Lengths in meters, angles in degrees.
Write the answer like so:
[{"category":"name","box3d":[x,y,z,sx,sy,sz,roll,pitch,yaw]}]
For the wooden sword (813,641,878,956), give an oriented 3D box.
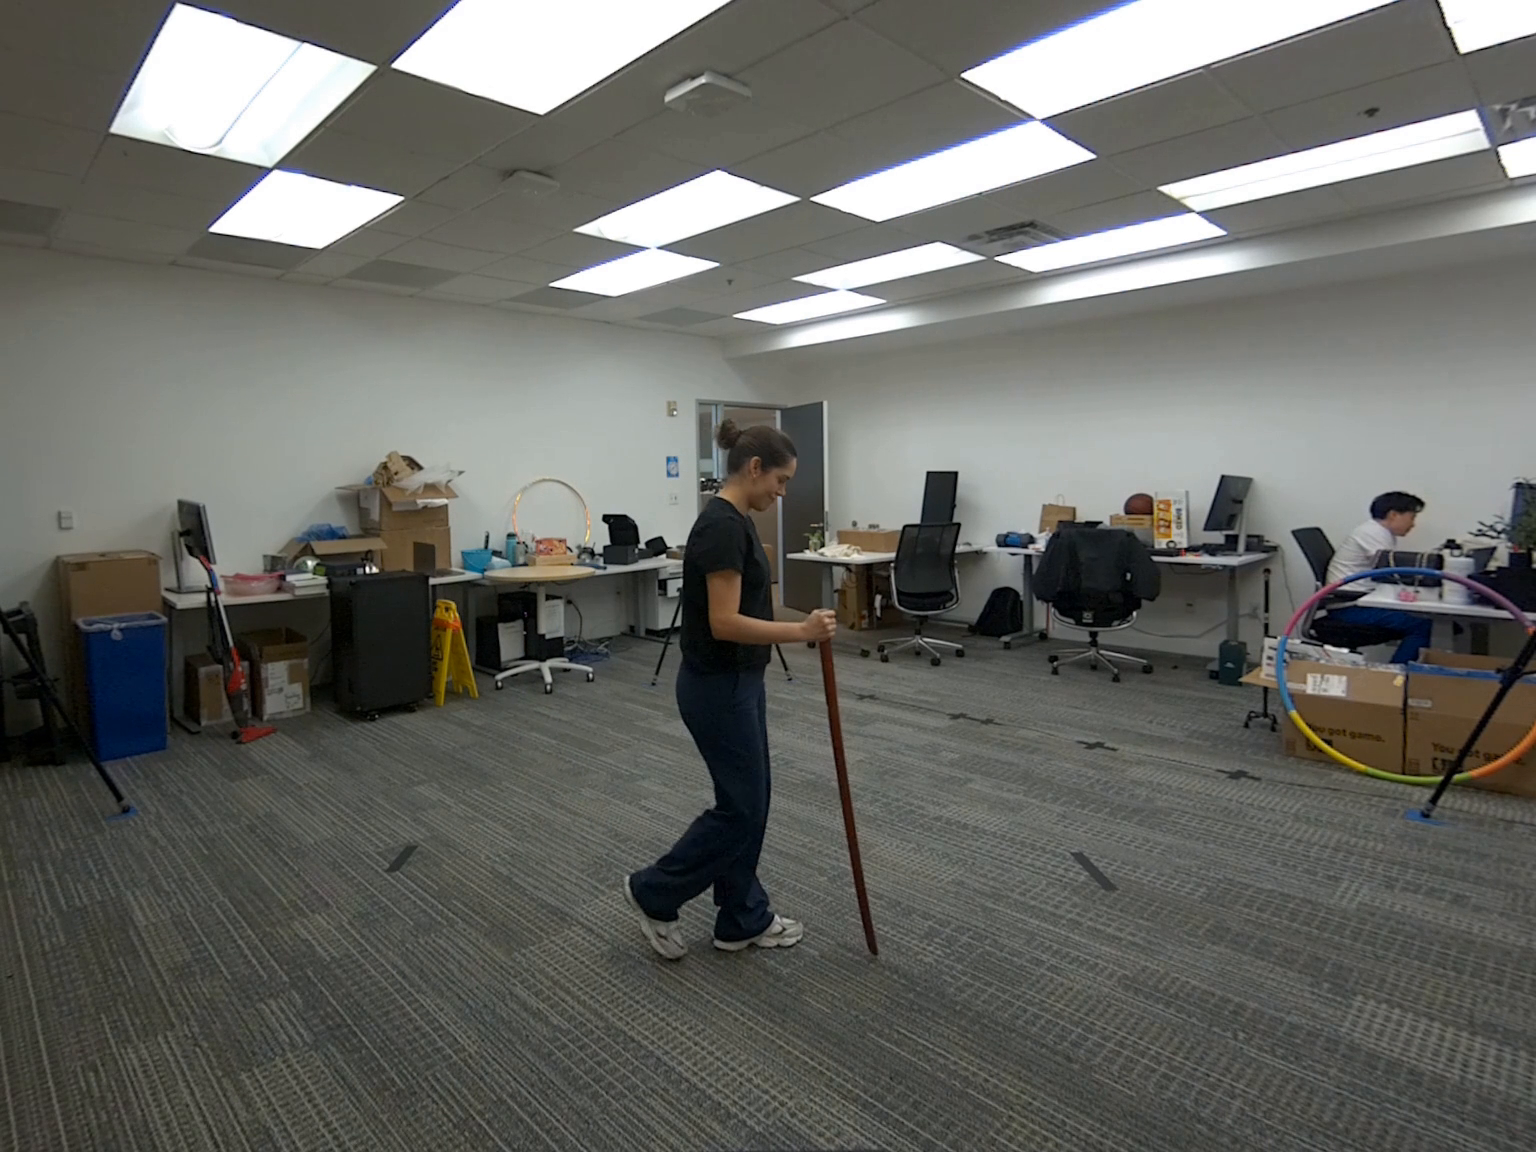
[{"category":"wooden sword","box3d":[0.206,0.594,2.440,0.024,1.018,0.050,-5,7,31]}]
